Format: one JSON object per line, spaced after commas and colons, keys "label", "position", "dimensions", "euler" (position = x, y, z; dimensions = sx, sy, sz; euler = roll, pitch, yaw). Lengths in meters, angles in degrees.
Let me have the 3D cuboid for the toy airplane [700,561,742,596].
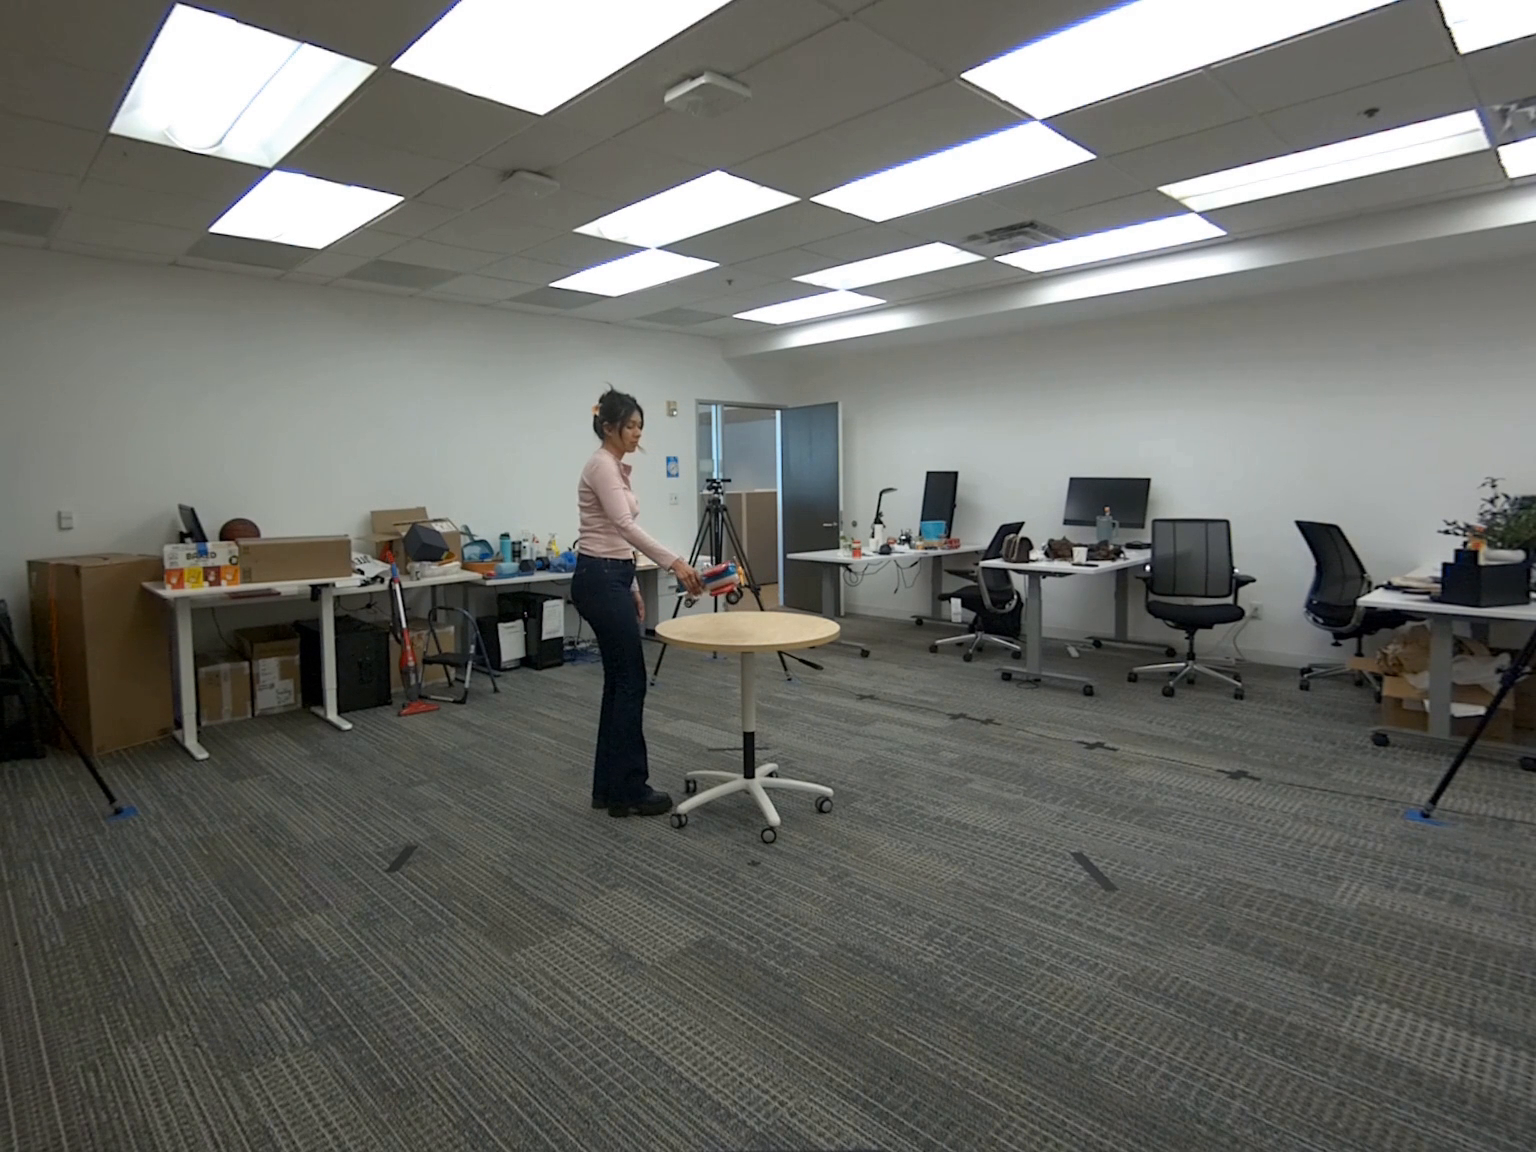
{"label": "toy airplane", "position": [-0.210, 0.033, 3.232], "dimensions": [0.255, 0.156, 0.256], "euler": [-7, 6, -22]}
